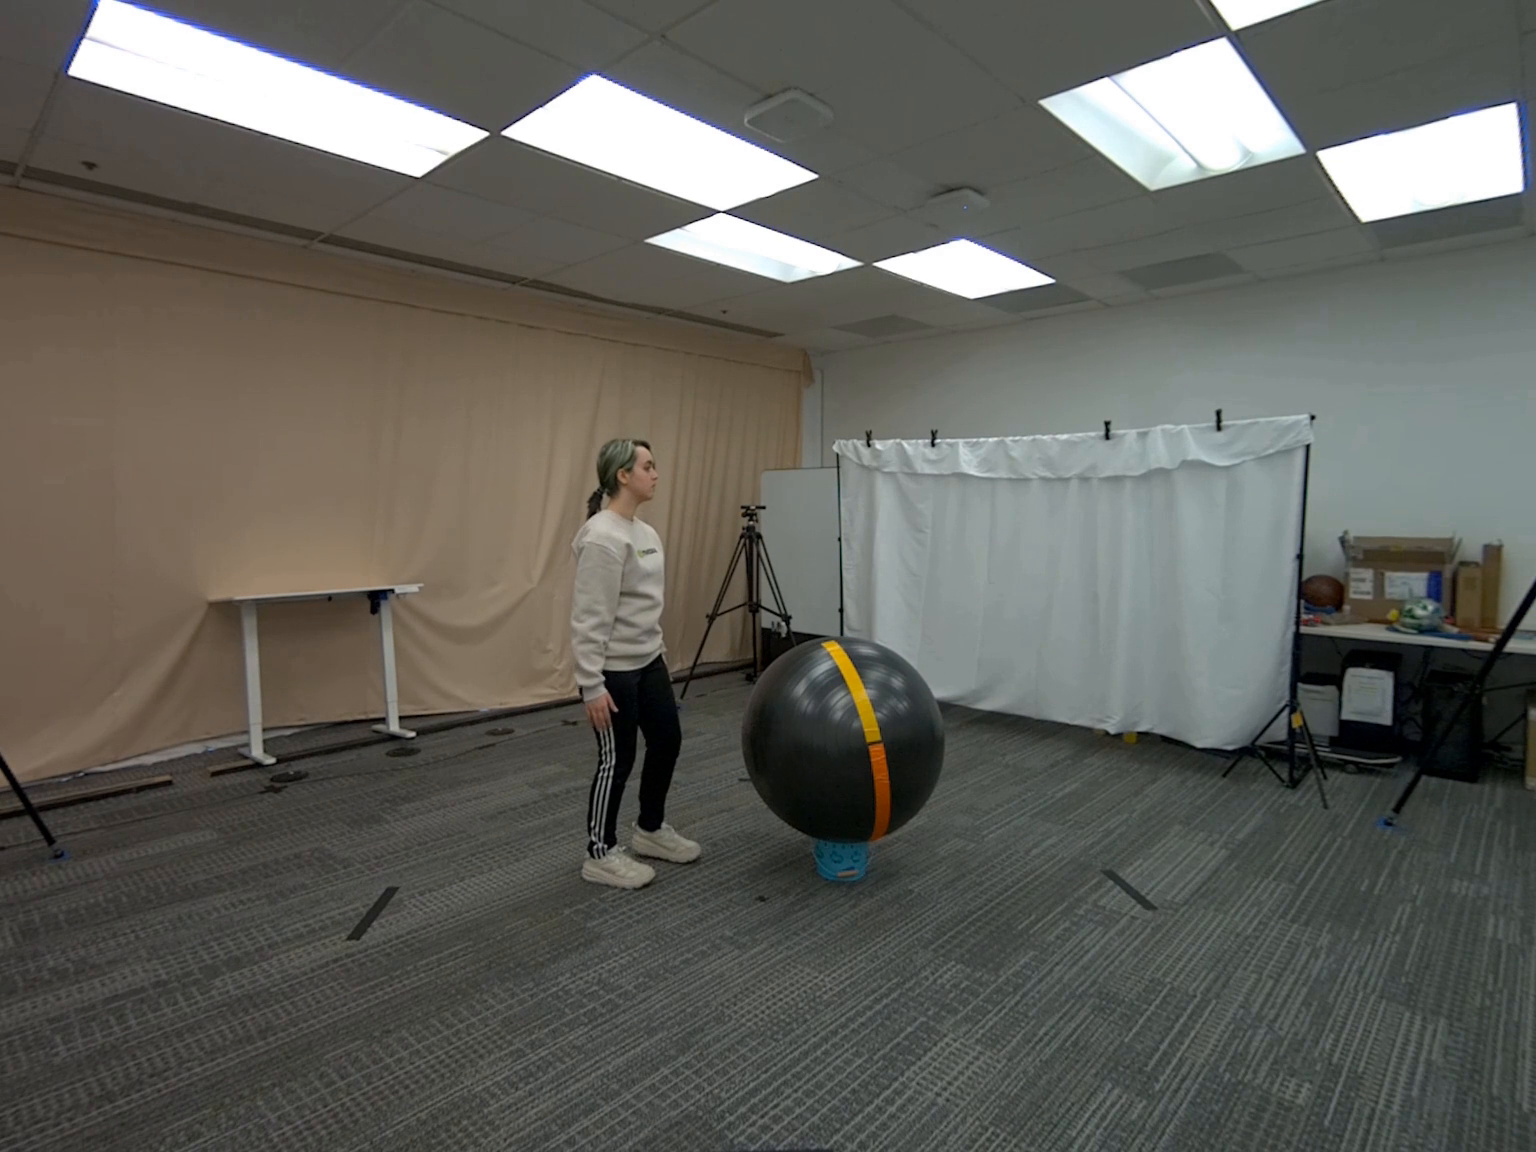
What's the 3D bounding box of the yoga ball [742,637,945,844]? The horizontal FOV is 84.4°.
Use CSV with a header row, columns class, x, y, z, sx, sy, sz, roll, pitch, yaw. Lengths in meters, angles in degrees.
class,x,y,z,sx,sy,sz,roll,pitch,yaw
yoga ball,0.282,0.614,3.182,0.757,0.756,0.761,0,4,-2
